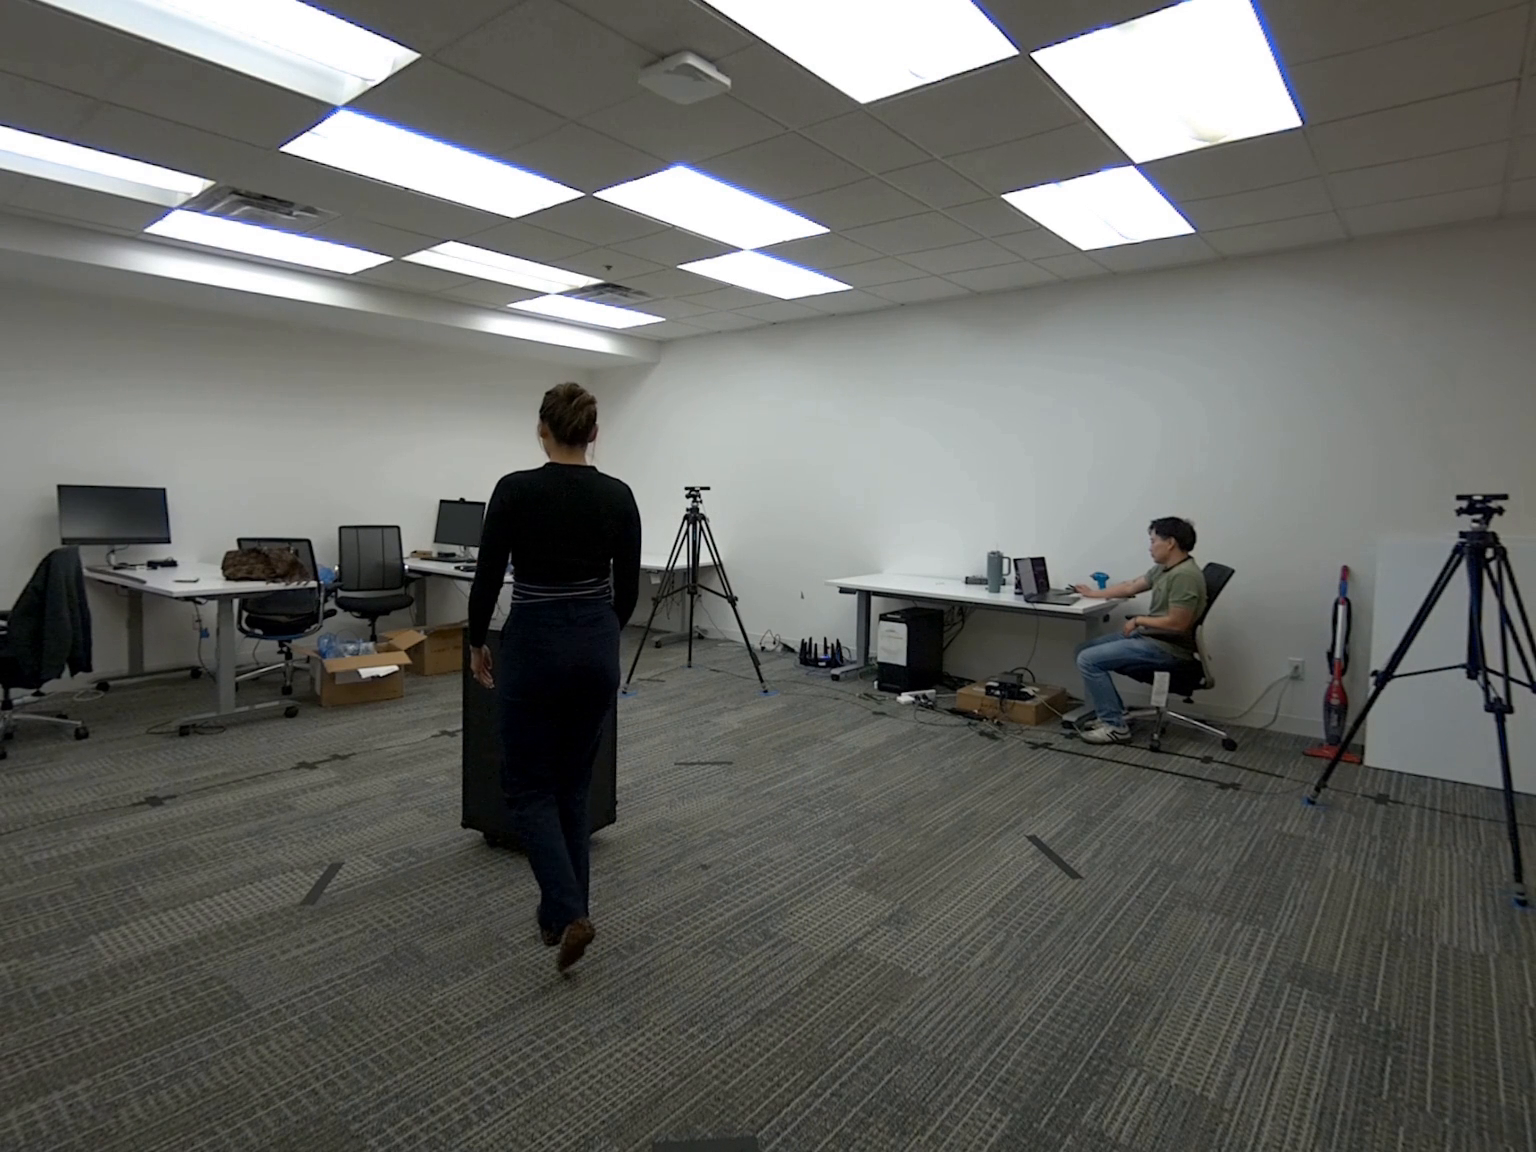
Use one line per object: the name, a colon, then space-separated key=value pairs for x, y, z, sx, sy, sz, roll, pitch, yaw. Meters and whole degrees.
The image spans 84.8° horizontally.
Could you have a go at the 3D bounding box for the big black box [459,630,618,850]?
big black box: x=-0.894 y=0.612 z=3.308 sx=0.536 sy=0.860 sz=0.386 roll=3 pitch=2 yaw=28
